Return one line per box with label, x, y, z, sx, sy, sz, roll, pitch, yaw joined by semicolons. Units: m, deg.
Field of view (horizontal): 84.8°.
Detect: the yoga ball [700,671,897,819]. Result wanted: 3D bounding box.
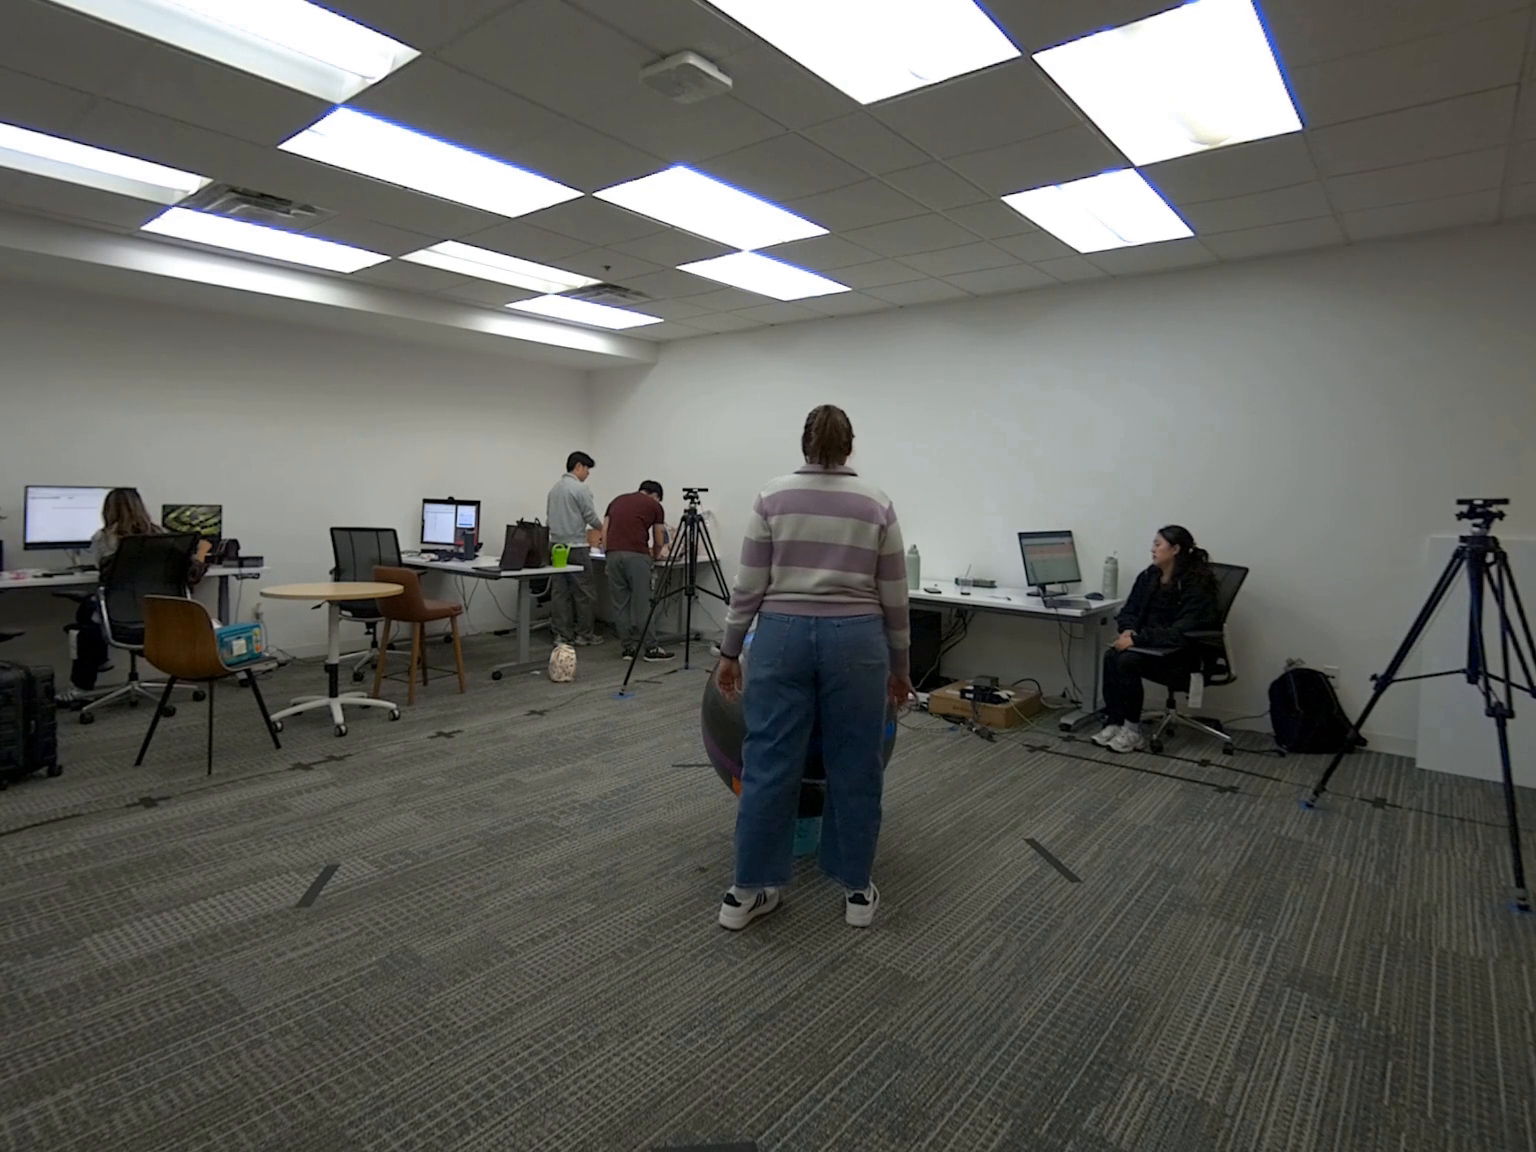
yoga ball;0.125;0.546;3.305;0.757;0.756;0.762;1;4;-2
